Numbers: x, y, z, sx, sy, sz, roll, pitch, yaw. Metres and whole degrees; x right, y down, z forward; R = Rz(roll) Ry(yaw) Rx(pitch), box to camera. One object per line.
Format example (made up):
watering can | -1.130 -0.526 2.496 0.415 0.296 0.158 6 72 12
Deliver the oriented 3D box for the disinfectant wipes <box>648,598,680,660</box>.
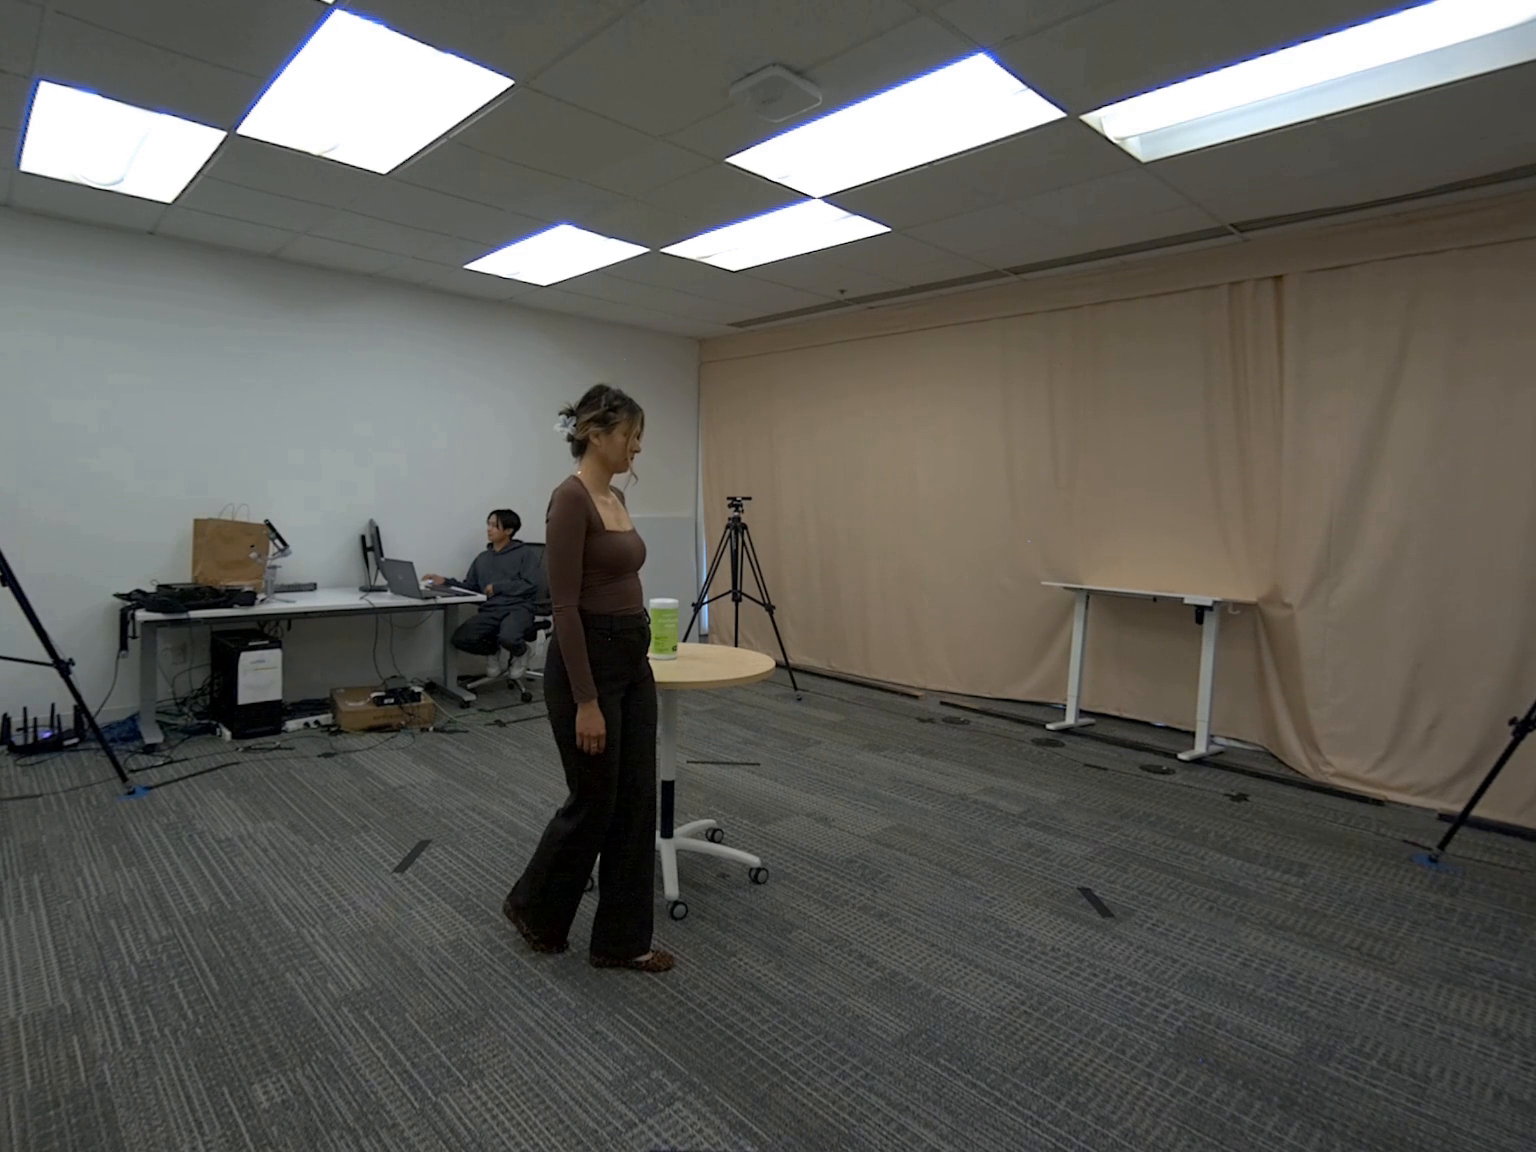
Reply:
disinfectant wipes | -0.398 0.198 3.107 0.118 0.217 0.118 2 2 -1
